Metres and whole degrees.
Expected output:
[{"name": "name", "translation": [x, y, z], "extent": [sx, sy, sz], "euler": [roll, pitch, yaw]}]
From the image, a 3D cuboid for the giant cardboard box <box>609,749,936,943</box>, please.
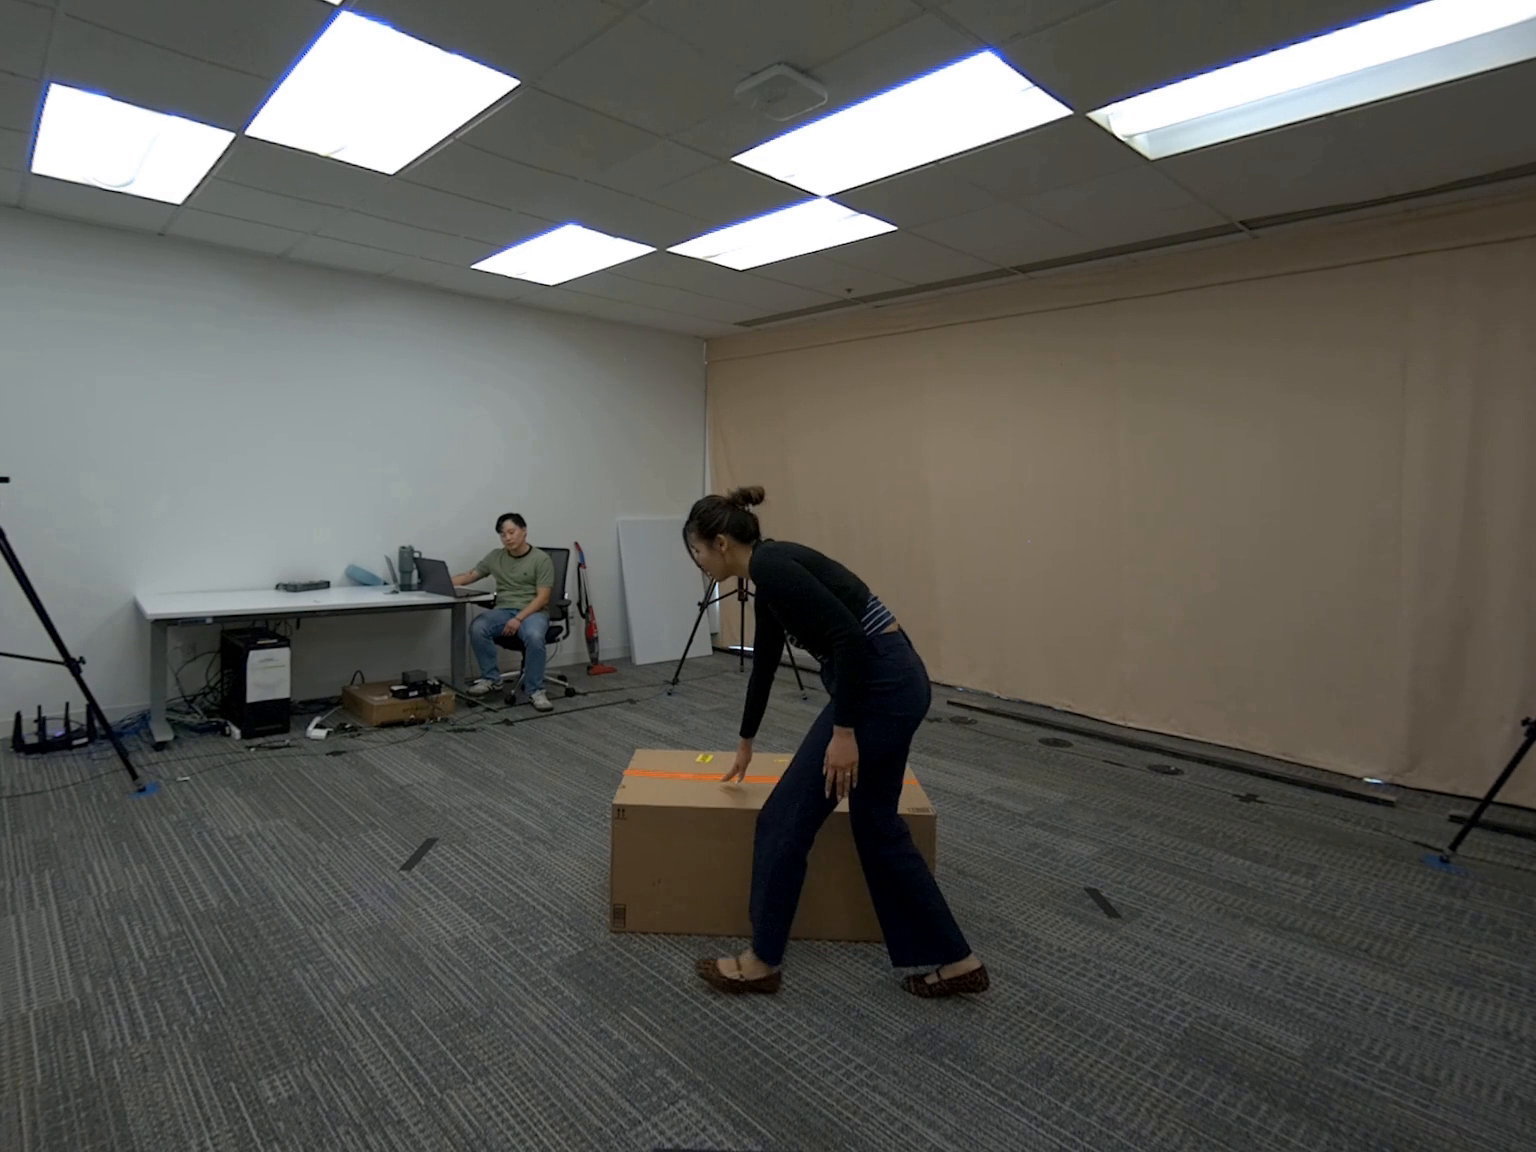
[{"name": "giant cardboard box", "translation": [0.002, 0.908, 2.926], "extent": [1.027, 0.425, 0.578], "euler": [1, 4, 1]}]
